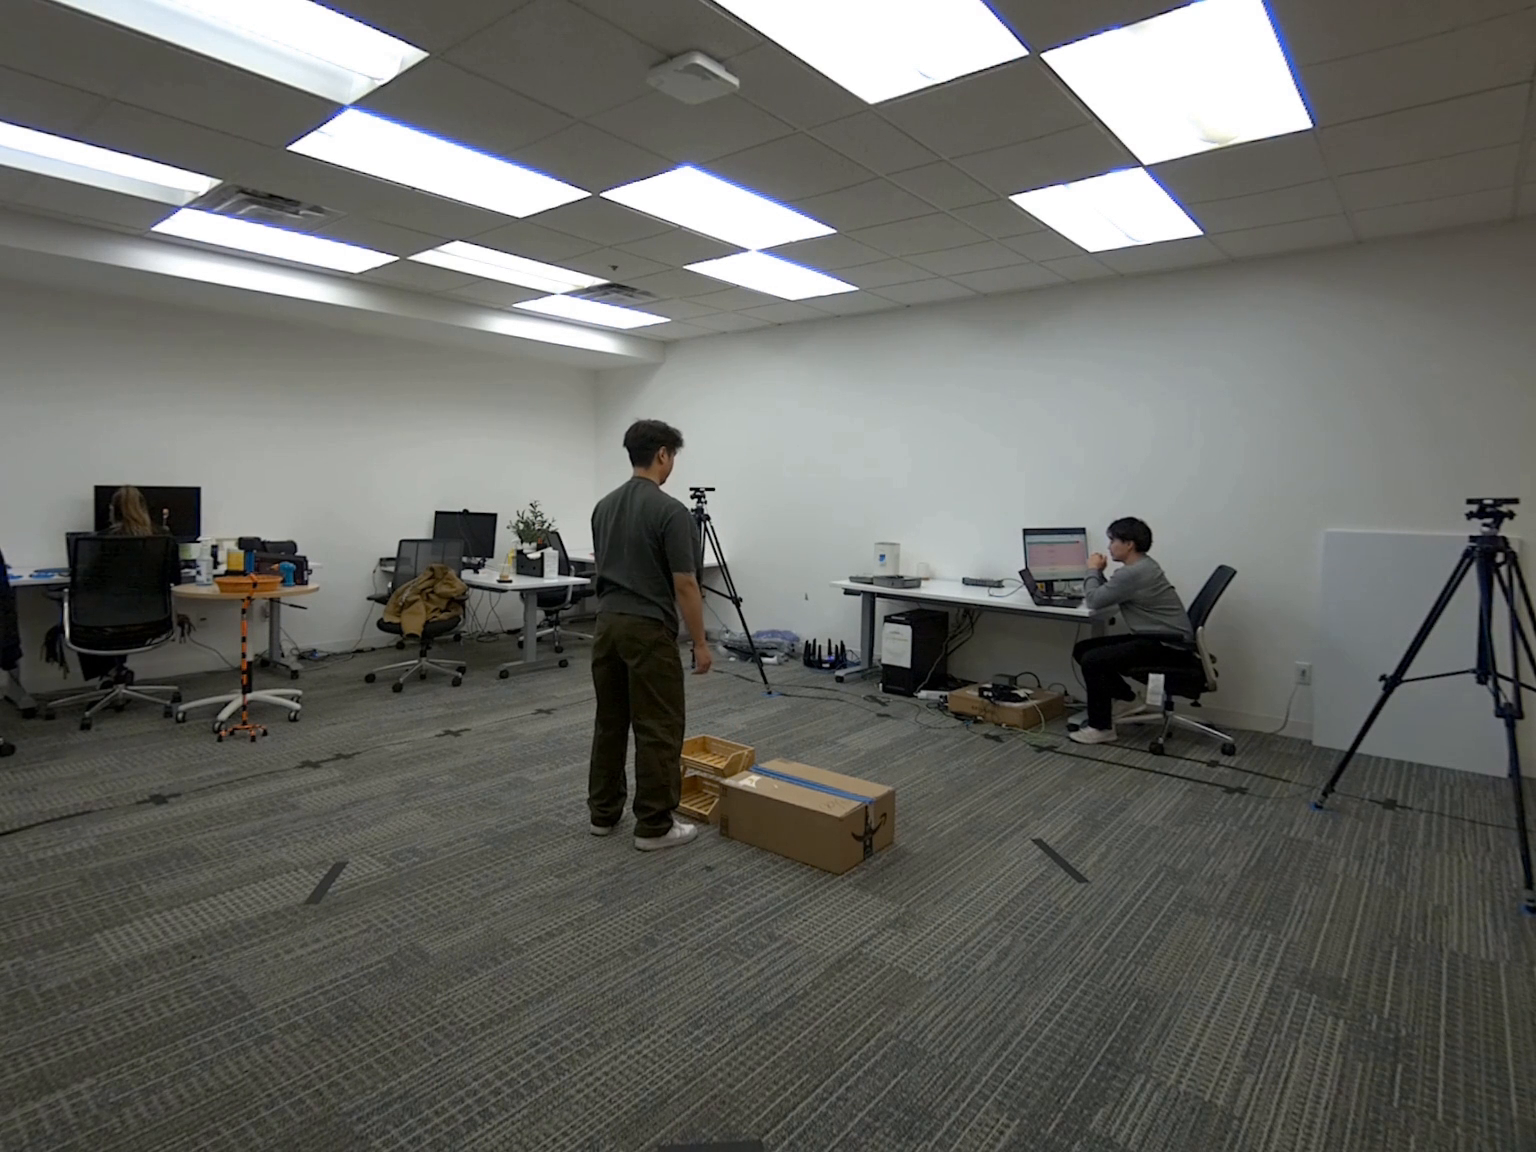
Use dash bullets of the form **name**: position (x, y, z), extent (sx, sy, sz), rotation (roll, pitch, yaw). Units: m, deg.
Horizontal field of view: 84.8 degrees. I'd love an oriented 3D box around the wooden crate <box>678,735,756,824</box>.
- **wooden crate**: position (-0.287, 0.868, 3.707), extent (0.335, 0.272, 0.293), rotation (4, 5, 40)
